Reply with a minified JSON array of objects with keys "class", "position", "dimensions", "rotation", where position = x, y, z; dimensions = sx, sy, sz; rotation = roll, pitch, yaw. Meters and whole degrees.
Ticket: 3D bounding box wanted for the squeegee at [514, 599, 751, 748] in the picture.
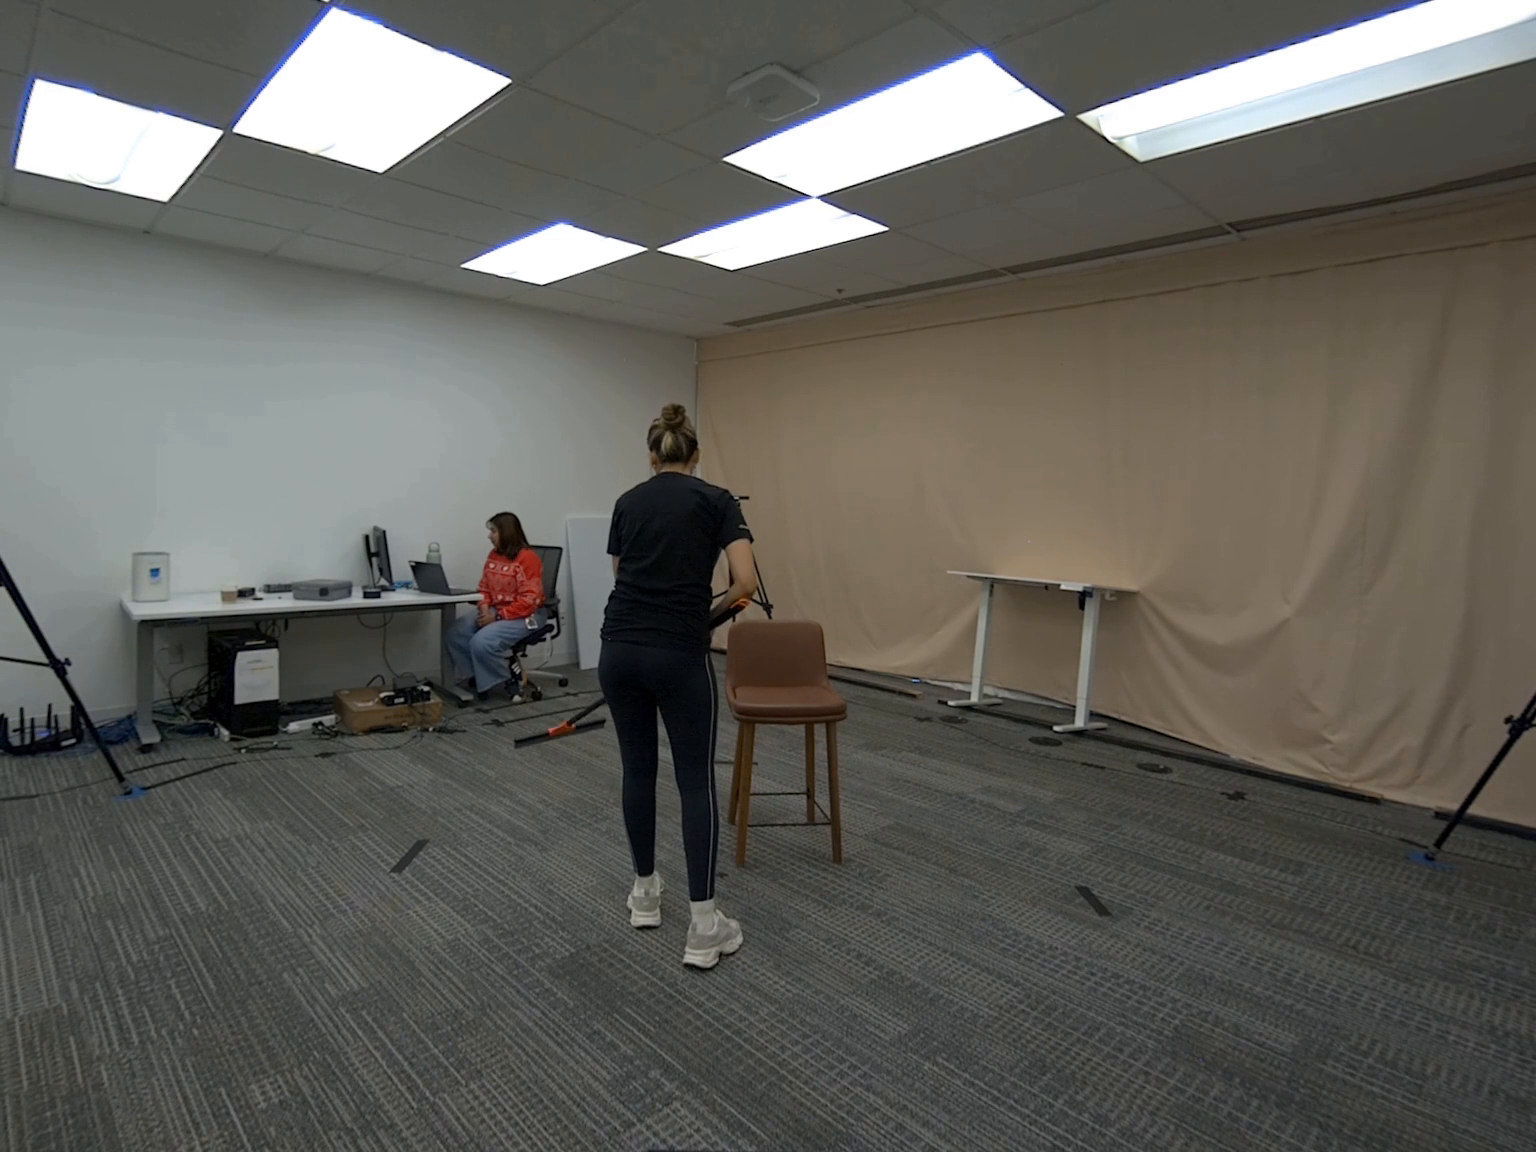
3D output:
[{"class":"squeegee","position":[-0.471,0.363,3.122],"dimensions":[0.428,0.054,1.546],"rotation":[-3,-22,-39]}]
